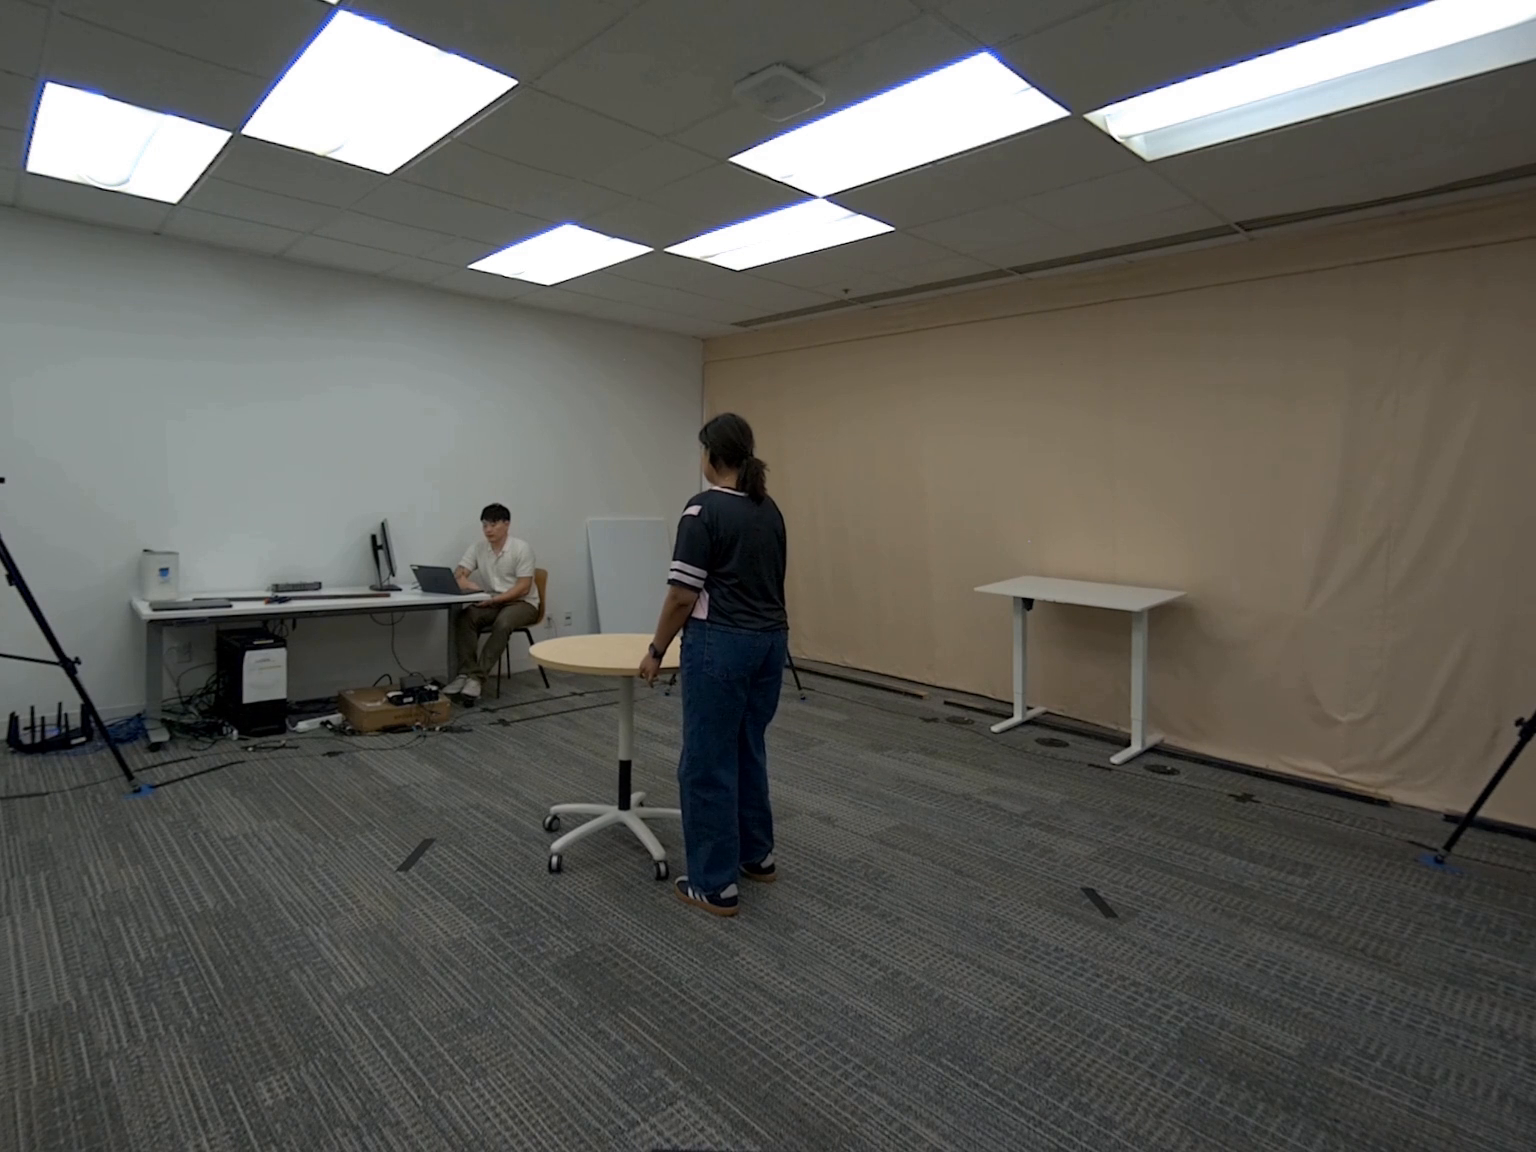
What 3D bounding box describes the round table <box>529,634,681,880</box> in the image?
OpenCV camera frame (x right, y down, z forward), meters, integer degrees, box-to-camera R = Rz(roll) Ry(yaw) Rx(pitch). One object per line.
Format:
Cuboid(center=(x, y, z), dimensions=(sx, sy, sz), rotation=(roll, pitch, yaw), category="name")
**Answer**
Cuboid(center=(-0.570, 0.680, 3.335), dimensions=(0.784, 0.785, 0.787), rotation=(2, 3, -1), category="round table")
